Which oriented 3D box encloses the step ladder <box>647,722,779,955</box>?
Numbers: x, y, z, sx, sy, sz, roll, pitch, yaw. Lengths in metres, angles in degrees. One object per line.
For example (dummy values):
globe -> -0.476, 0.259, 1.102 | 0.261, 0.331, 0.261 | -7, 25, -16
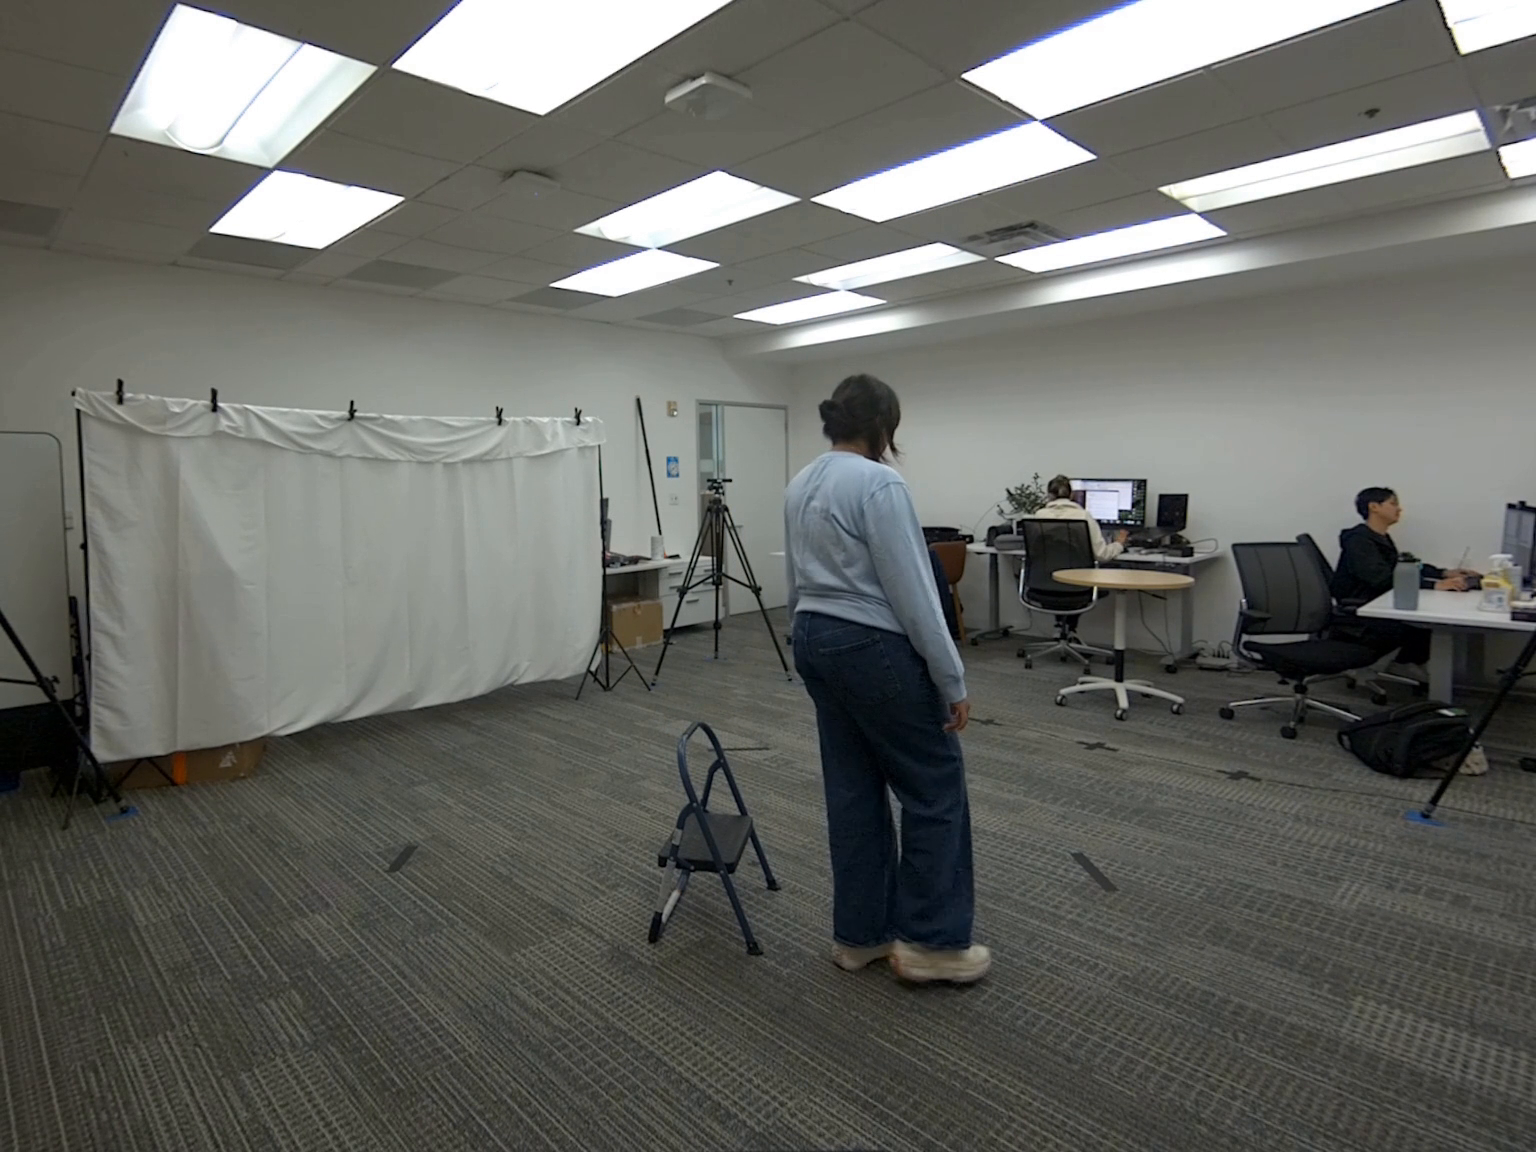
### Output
step ladder -> -0.170, 0.790, 2.732 | 0.353, 0.604, 0.428 | 0, 5, 10
